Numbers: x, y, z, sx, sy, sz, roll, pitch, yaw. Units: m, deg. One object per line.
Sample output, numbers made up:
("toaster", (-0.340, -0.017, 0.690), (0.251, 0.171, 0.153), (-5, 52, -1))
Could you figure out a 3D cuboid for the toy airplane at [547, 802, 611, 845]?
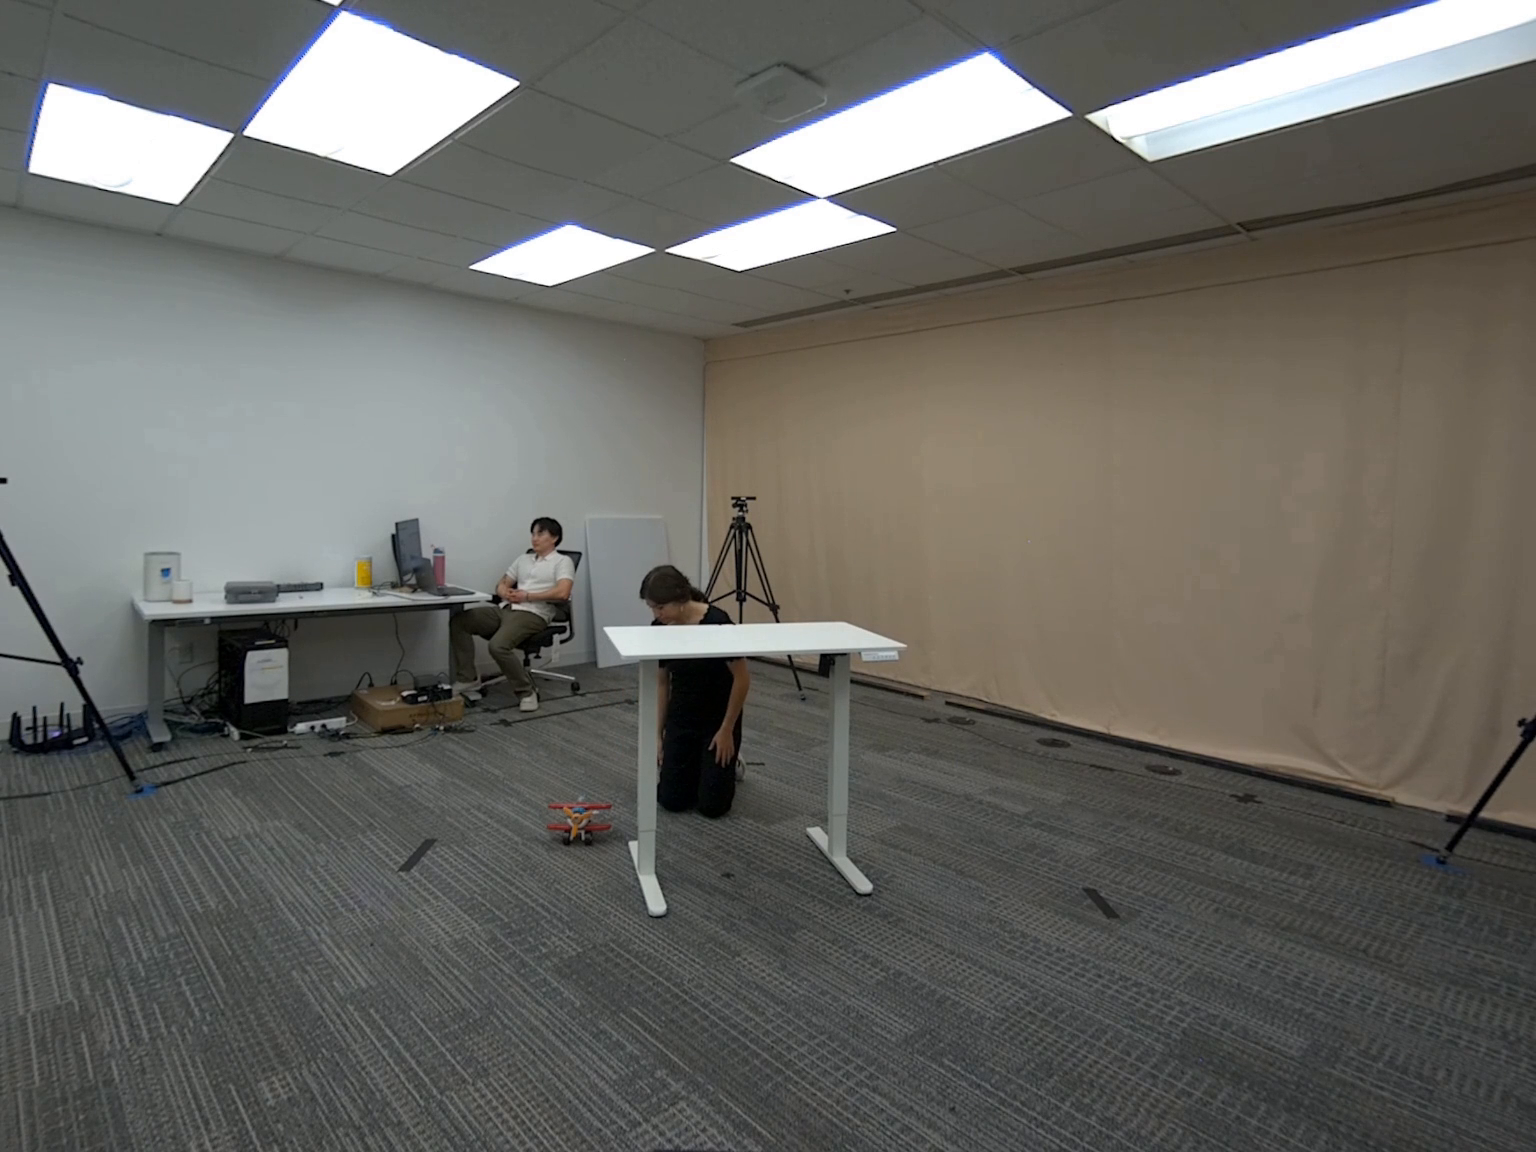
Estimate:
("toy airplane", (-0.788, 0.987, 3.427), (0.246, 0.156, 0.265), (-2, 6, -31))
